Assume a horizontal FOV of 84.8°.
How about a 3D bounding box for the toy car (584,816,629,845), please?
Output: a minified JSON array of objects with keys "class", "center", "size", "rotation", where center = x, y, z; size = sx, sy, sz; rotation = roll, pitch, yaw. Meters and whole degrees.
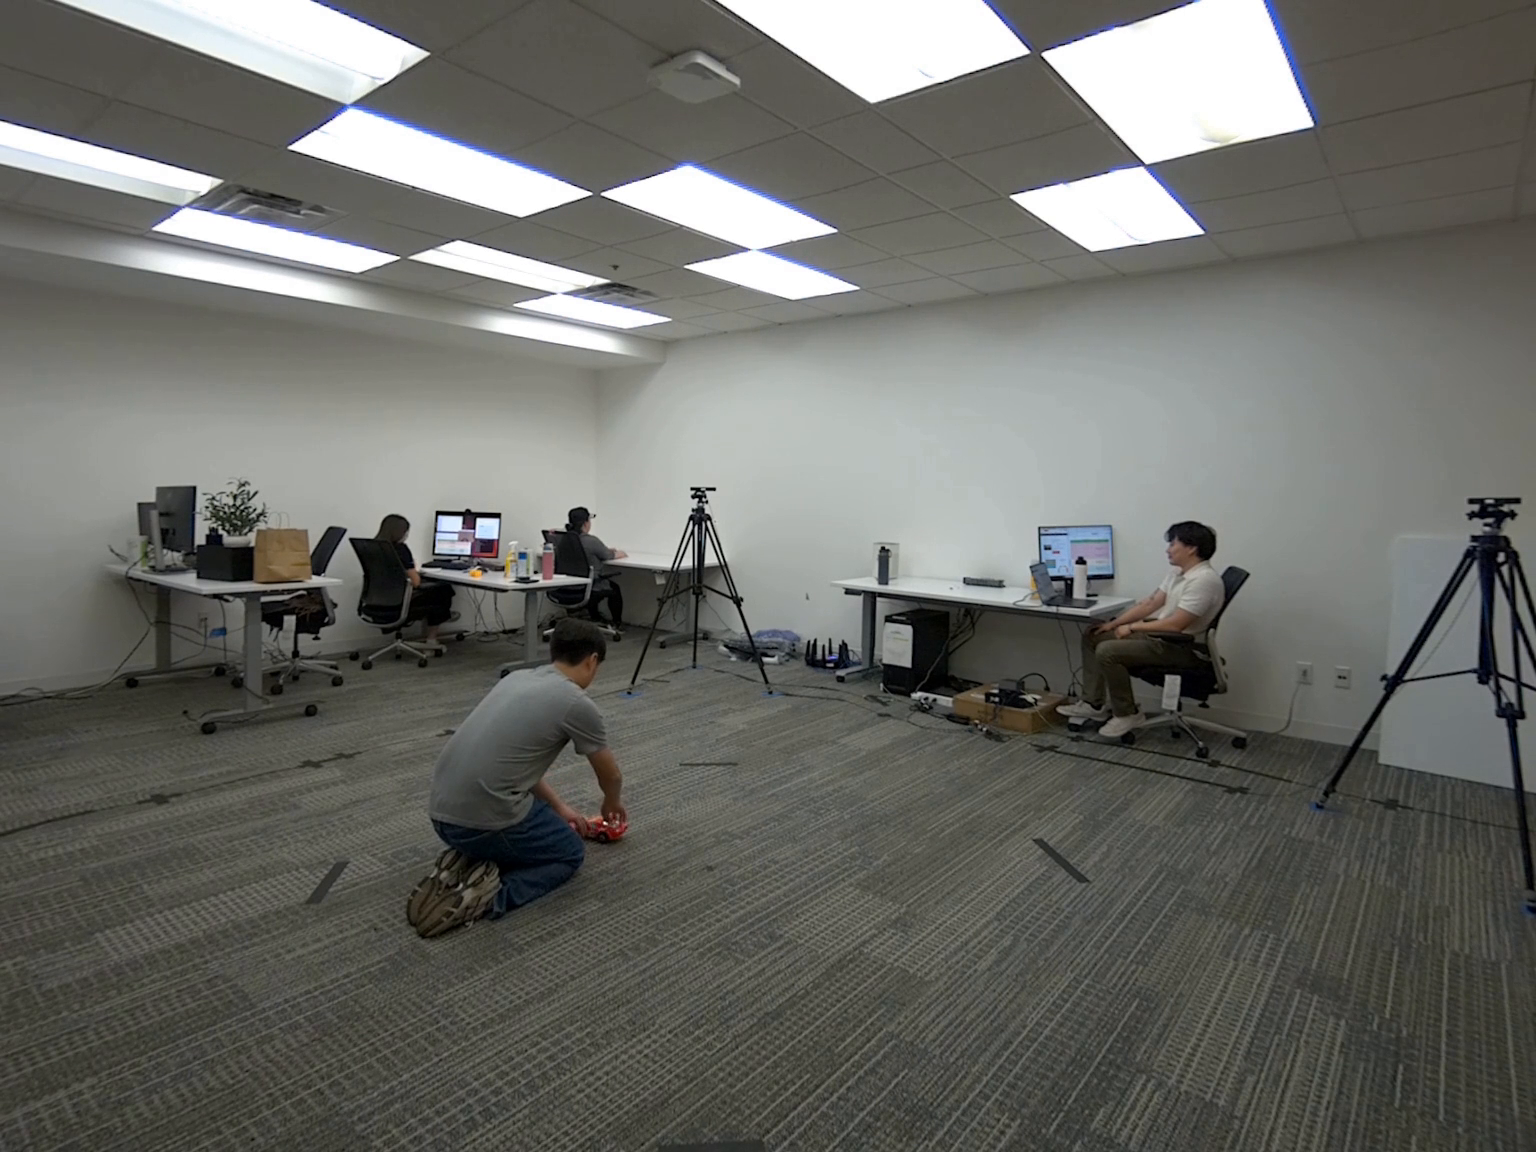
[{"class":"toy car","center":[-0.684,1.000,3.362],"size":[0.259,0.083,0.128],"rotation":[-8,1,19]}]
